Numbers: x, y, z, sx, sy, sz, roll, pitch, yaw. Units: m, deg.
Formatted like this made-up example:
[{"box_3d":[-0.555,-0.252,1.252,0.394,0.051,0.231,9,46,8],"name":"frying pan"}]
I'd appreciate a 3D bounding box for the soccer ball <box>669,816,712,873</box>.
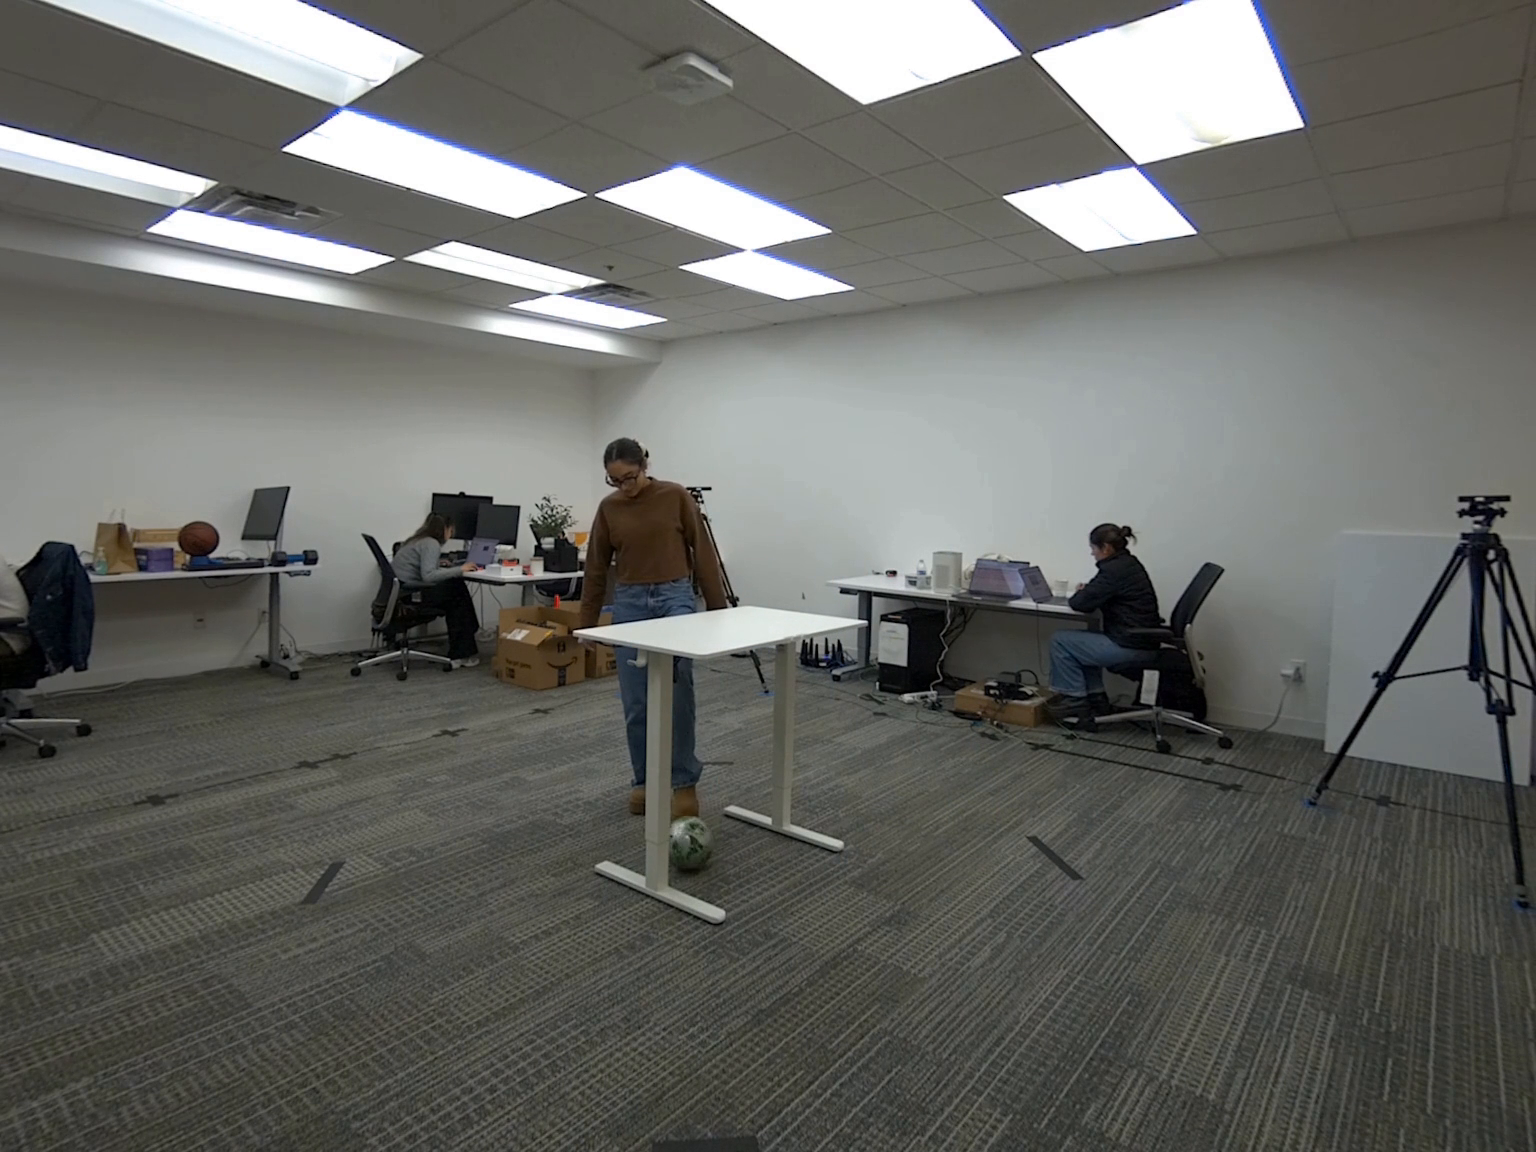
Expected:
[{"box_3d":[-0.303,0.976,3.112,0.187,0.187,0.188,1,4,-2],"name":"soccer ball"}]
